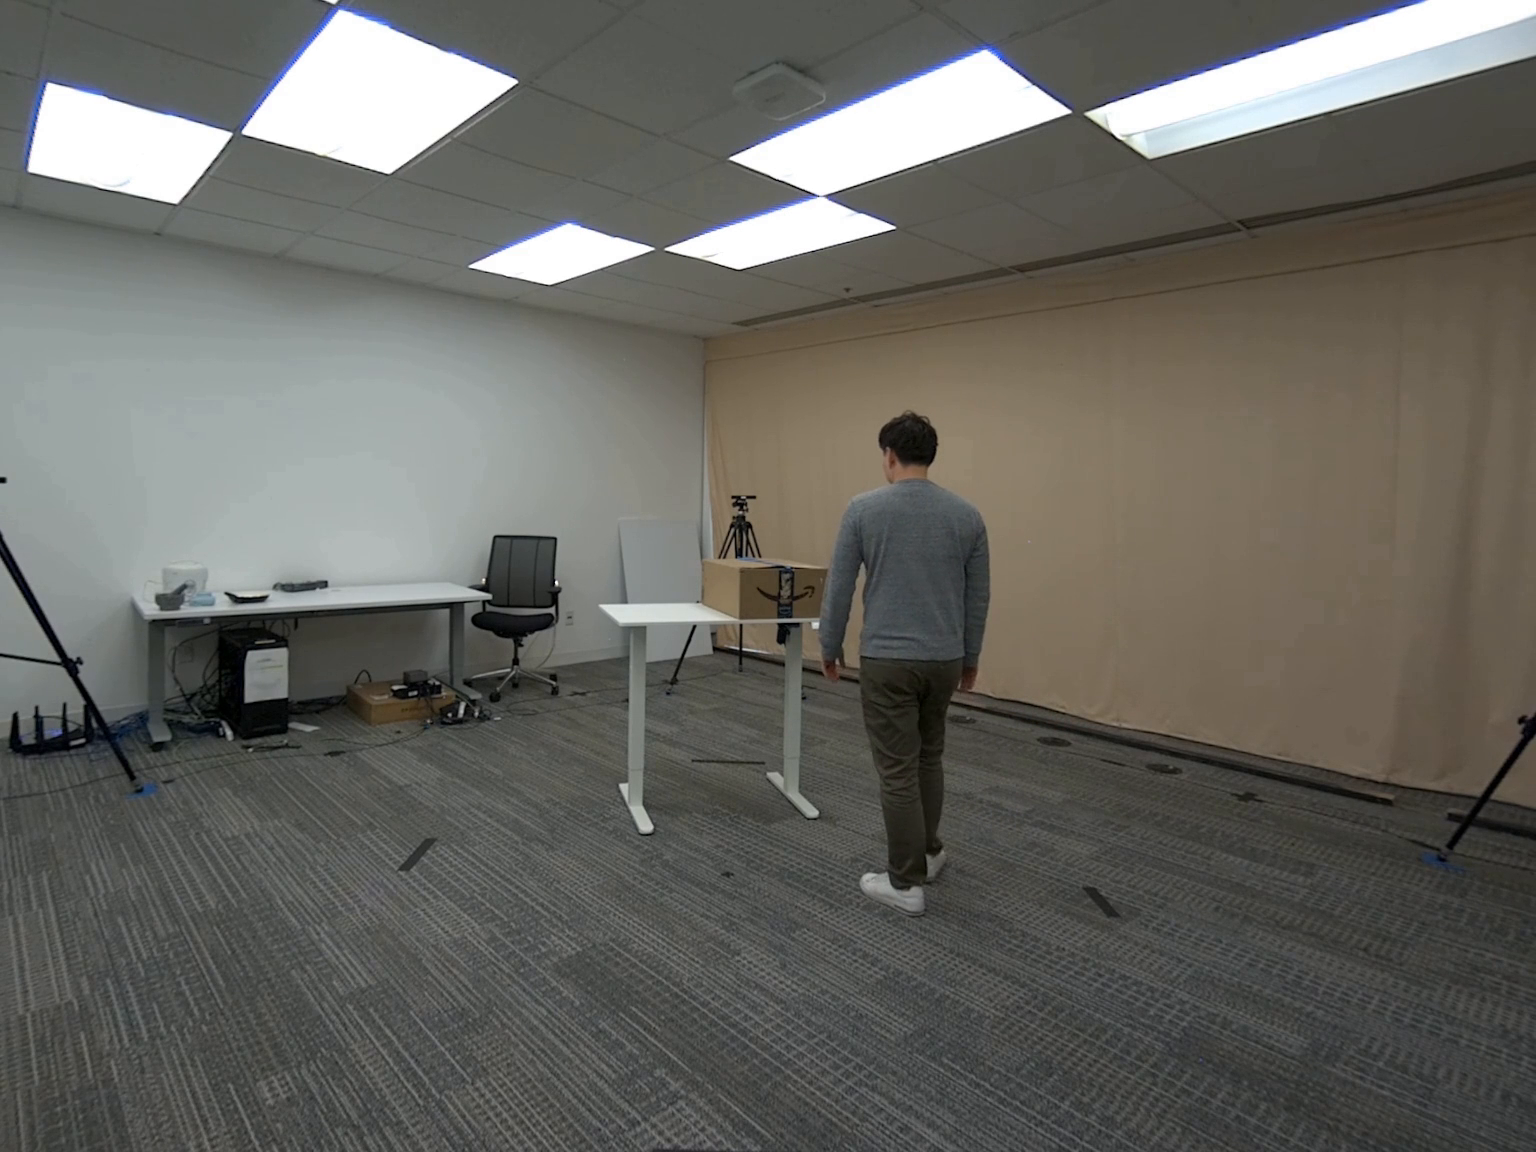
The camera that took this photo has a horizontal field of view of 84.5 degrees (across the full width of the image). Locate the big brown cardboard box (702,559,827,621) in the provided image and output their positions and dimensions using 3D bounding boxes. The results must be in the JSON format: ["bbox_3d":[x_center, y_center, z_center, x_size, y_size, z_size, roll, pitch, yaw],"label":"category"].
[{"bbox_3d":[-0.037,0.049,3.832,0.411,0.232,0.599,-1,4,-21],"label":"big brown cardboard box"}]
